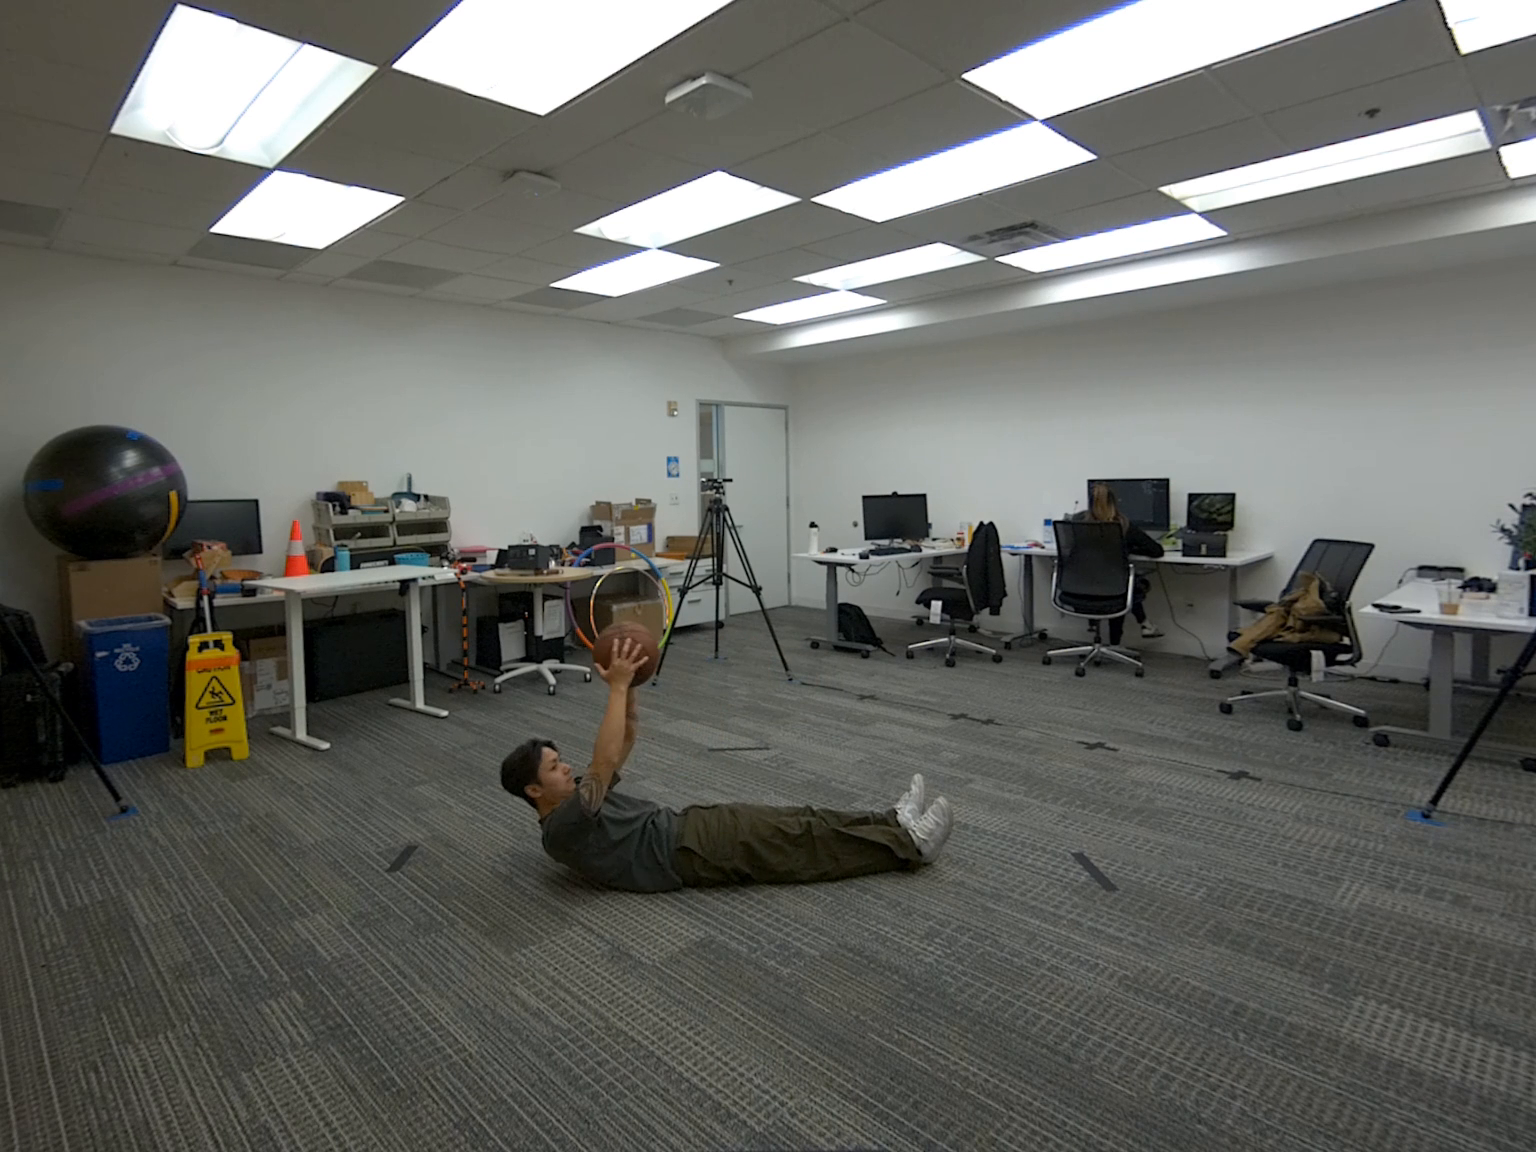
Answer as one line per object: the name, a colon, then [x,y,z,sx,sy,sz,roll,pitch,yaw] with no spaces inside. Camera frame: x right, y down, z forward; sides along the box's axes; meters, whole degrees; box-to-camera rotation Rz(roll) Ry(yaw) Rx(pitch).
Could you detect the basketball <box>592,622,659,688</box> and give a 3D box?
basketball: [-0.507,0.292,3.063,0.236,0.235,0.237,-1,5,-2]
